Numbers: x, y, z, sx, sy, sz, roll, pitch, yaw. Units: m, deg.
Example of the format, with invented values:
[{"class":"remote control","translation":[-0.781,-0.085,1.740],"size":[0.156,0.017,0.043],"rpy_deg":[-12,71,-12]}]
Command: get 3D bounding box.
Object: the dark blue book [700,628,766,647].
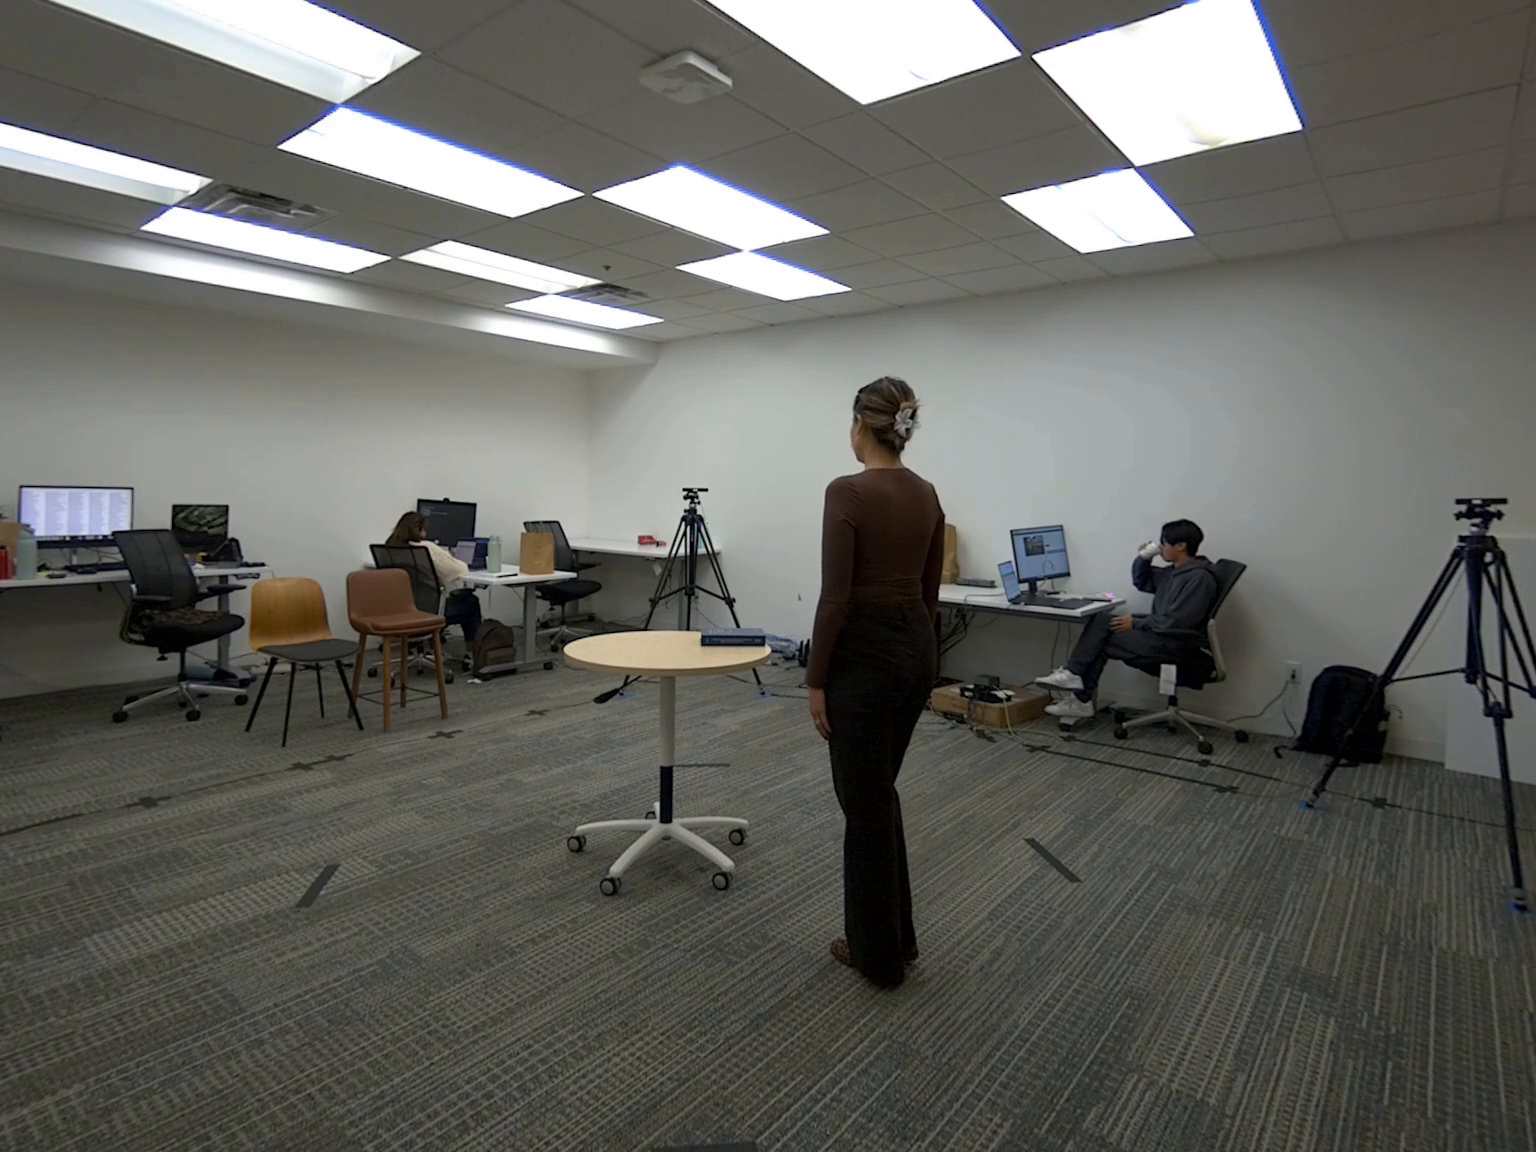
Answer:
[{"class":"dark blue book","translation":[-0.158,0.234,3.284],"size":[0.244,0.045,0.164],"rpy_deg":[1,5,-3]}]
